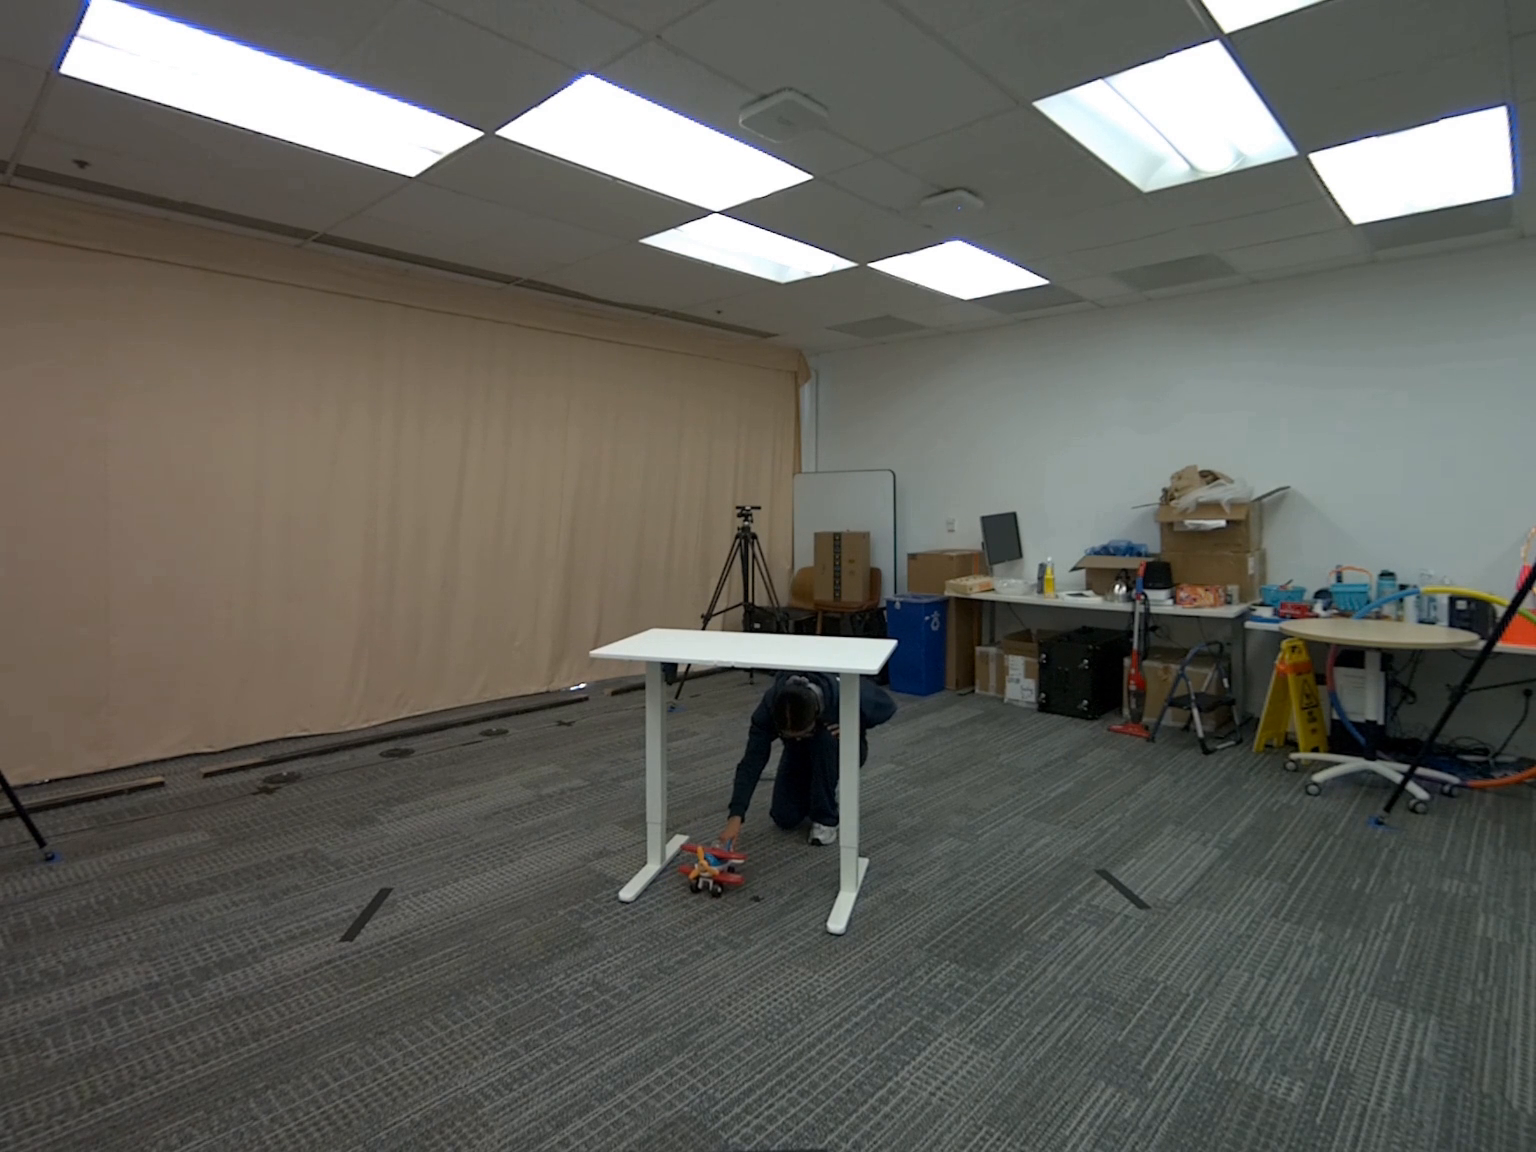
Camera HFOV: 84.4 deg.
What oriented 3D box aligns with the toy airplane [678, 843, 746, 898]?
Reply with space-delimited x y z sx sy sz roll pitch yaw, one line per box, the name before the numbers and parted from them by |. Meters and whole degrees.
toy airplane | -0.181 1.061 3.102 0.250 0.156 0.261 -1 6 -5
